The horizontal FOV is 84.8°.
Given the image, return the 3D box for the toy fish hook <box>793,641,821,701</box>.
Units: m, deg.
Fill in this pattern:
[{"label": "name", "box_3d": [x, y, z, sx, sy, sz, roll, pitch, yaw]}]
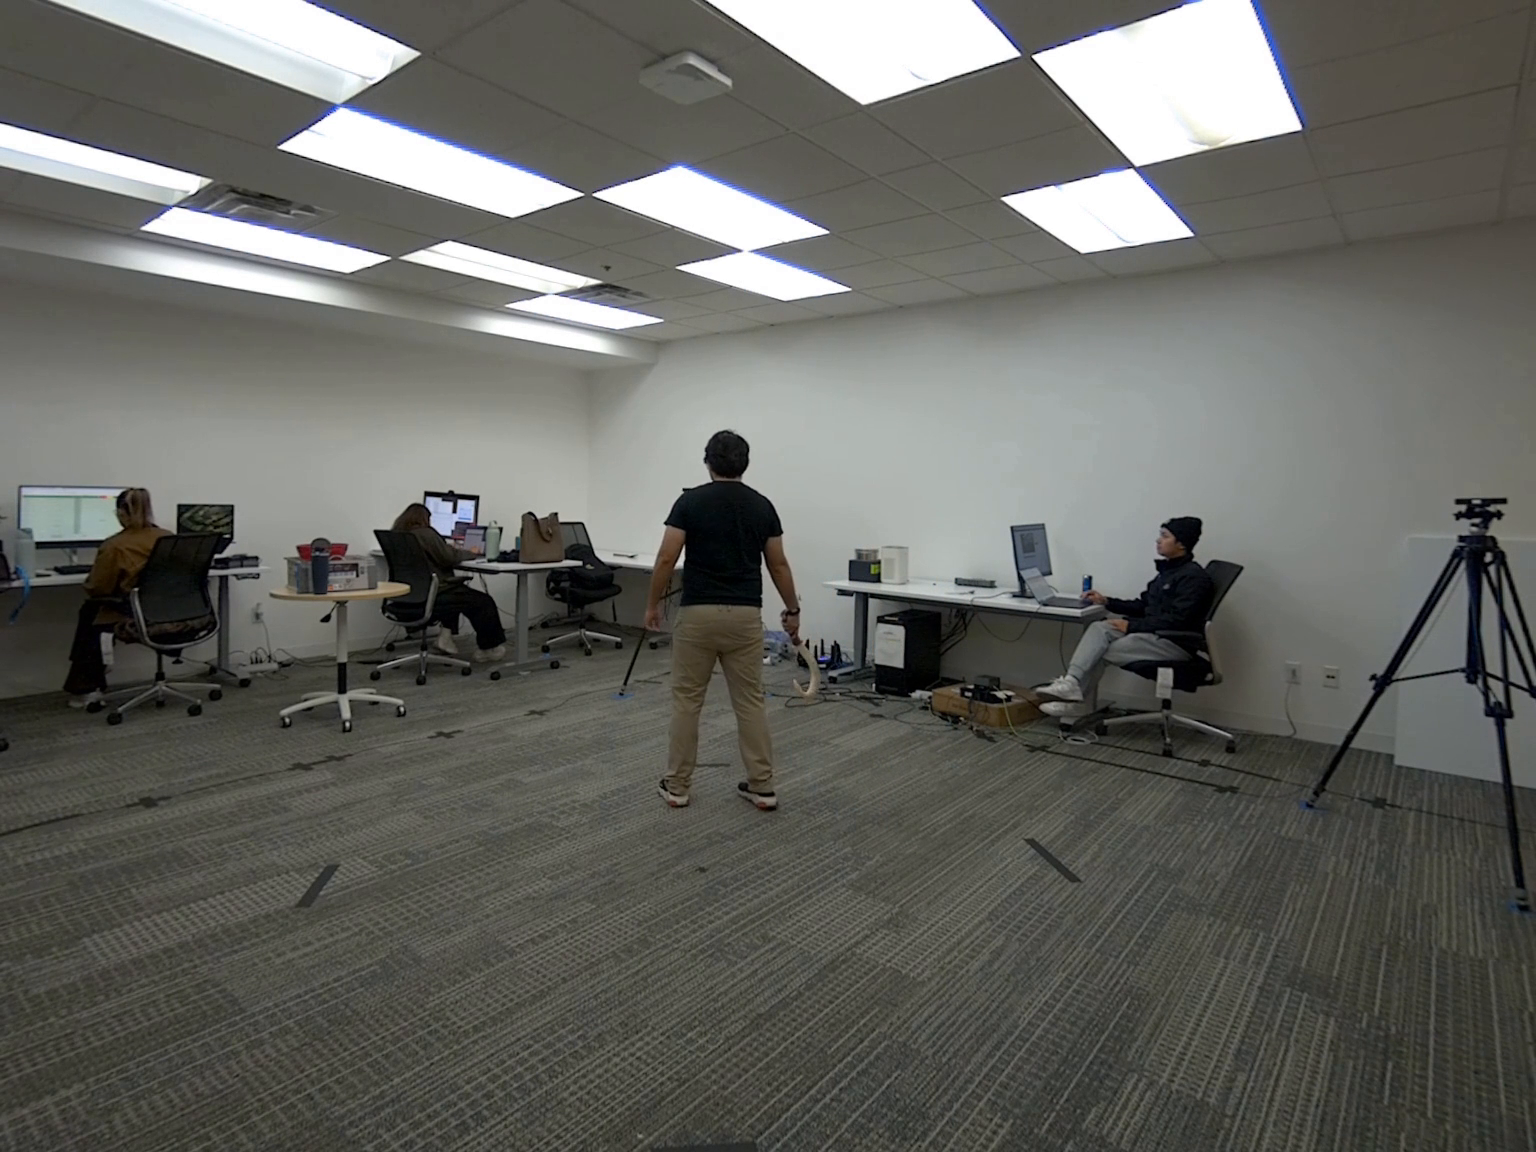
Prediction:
[{"label": "toy fish hook", "box_3d": [0.137, 0.389, 4.070, 0.049, 0.489, 0.227, -8, 36, 29]}]
